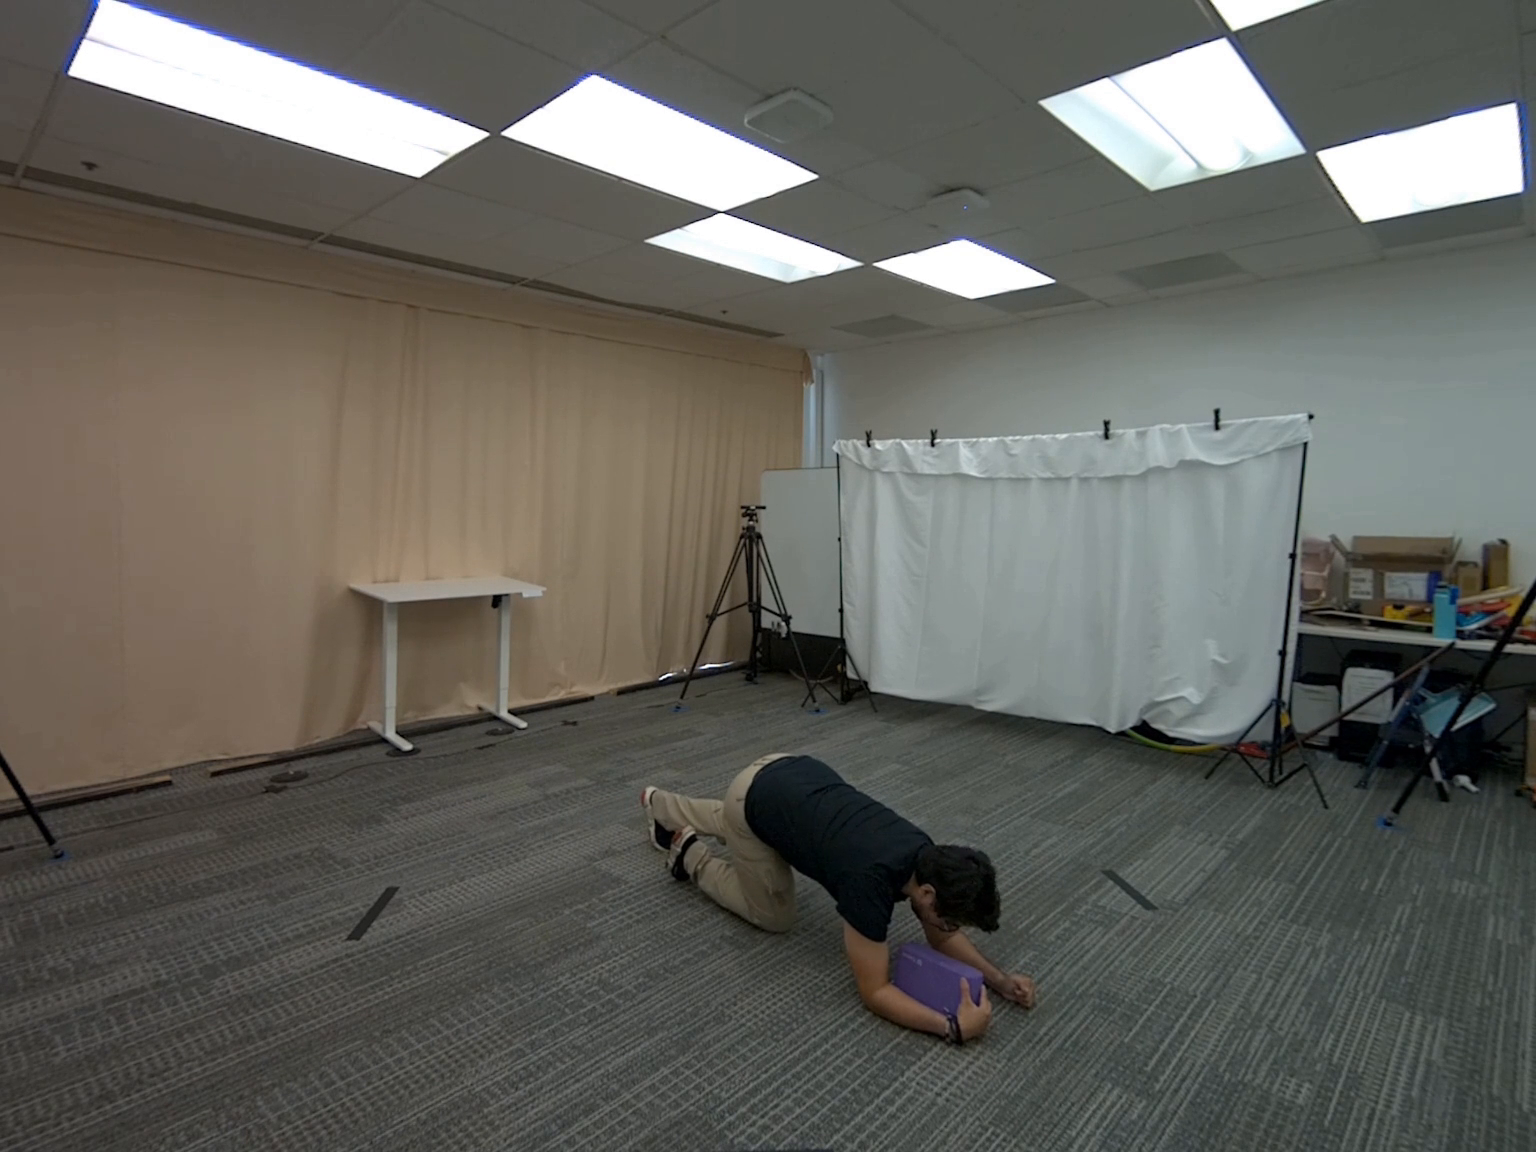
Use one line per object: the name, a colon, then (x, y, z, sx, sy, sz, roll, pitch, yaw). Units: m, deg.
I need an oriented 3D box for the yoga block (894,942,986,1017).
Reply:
yoga block: (0.466, 1.125, 2.301, 0.074, 0.149, 0.237, 10, -3, -41)
